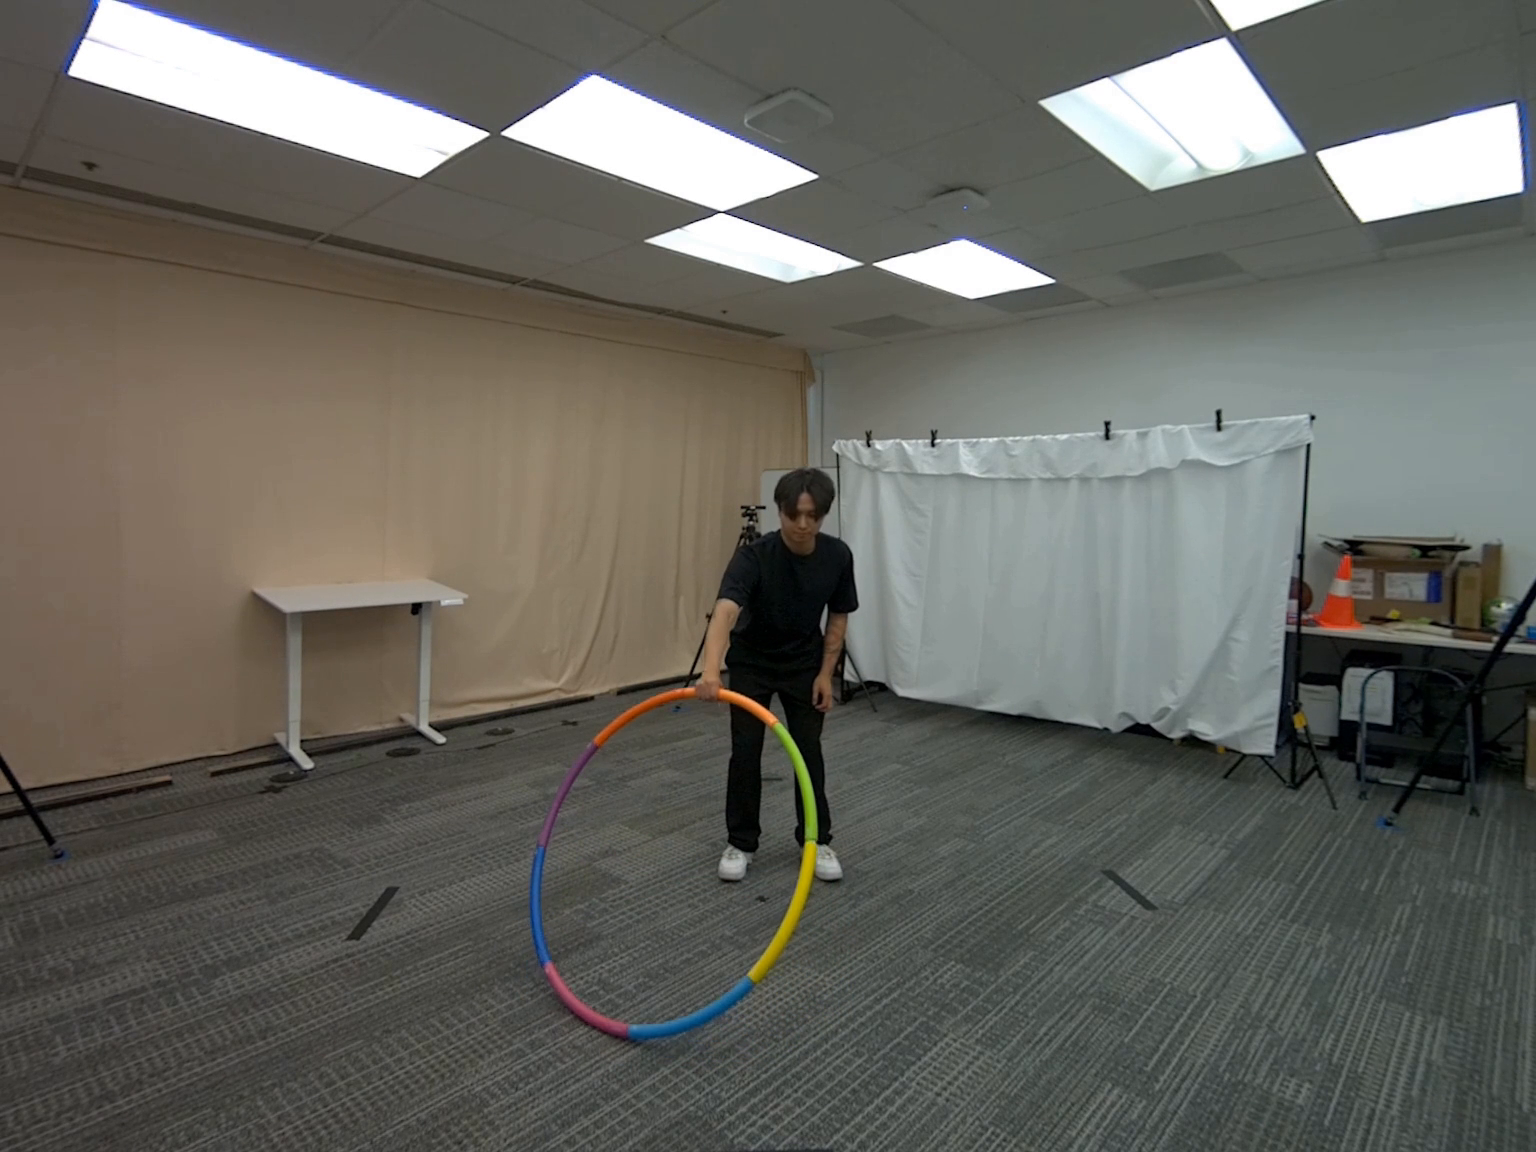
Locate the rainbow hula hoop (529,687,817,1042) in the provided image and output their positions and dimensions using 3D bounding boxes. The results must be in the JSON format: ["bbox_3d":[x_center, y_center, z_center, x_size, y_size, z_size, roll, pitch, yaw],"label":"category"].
[{"bbox_3d":[-0.302,0.782,2.465,1.010,0.982,0.034,3,-31,36],"label":"rainbow hula hoop"}]
